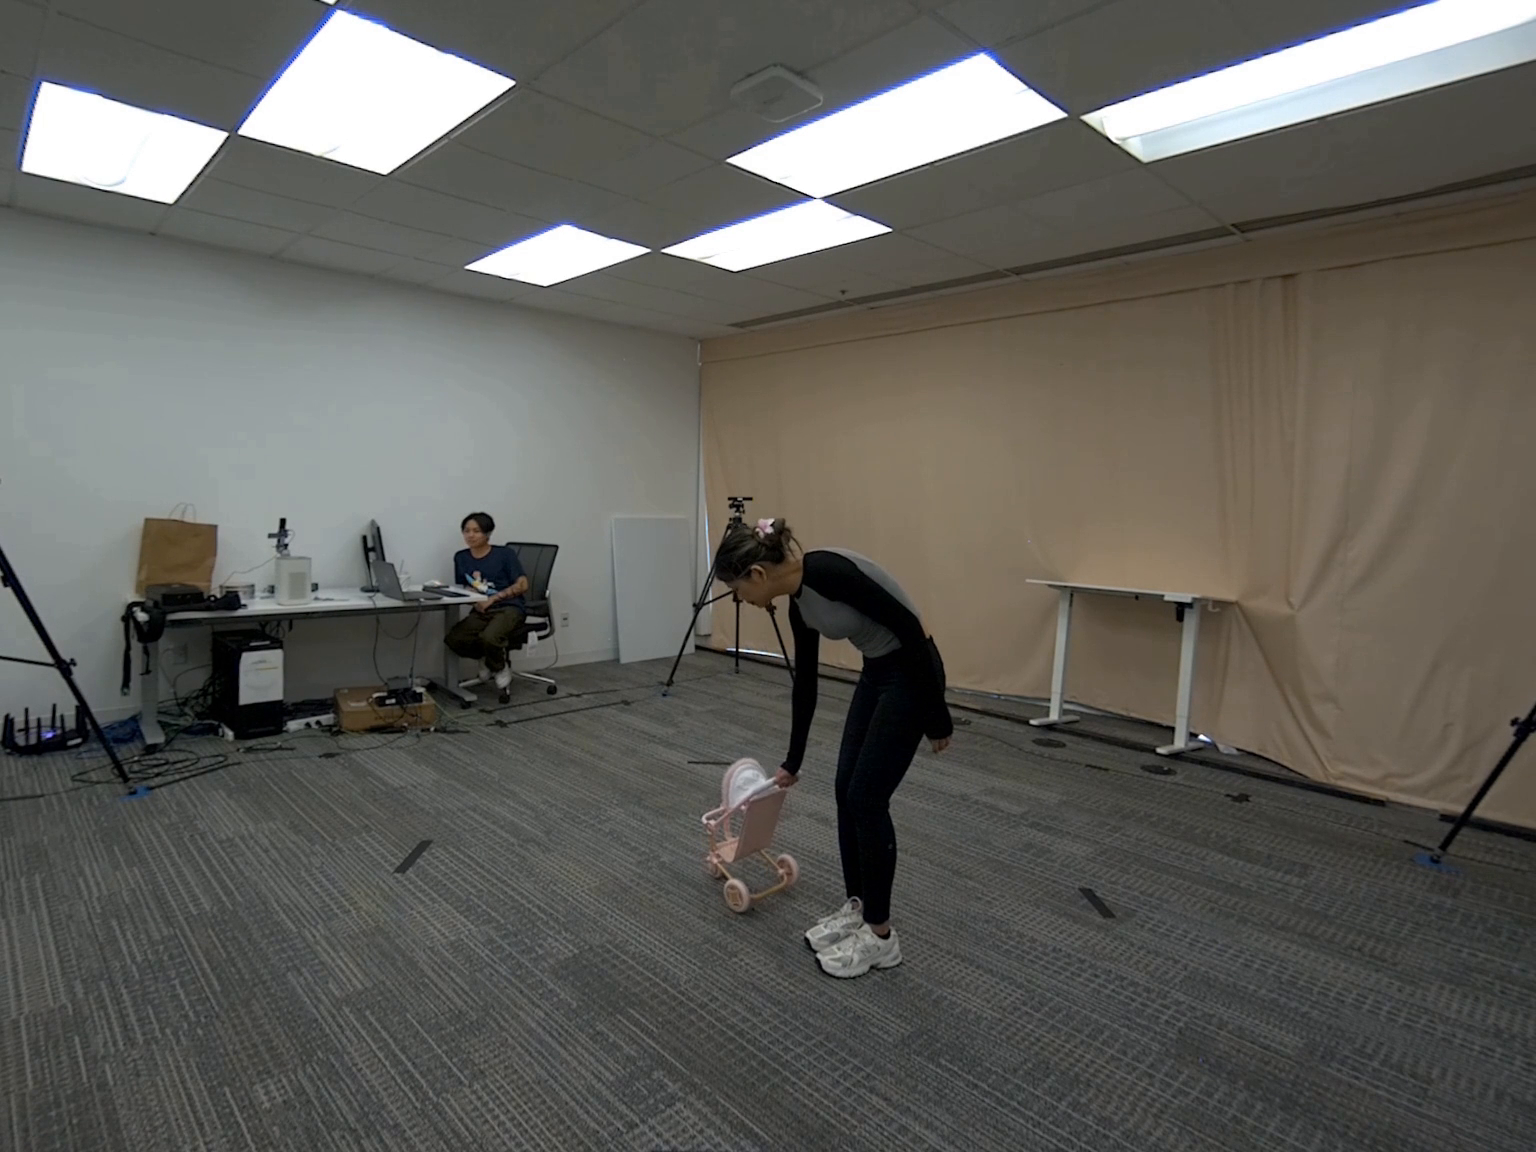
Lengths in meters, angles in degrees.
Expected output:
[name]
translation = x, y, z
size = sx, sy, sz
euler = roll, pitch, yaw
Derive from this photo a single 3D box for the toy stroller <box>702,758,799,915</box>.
[toy stroller]
translation = -0.081, 0.882, 2.948
size = 0.275, 0.530, 0.351
euler = -5, 16, -38
